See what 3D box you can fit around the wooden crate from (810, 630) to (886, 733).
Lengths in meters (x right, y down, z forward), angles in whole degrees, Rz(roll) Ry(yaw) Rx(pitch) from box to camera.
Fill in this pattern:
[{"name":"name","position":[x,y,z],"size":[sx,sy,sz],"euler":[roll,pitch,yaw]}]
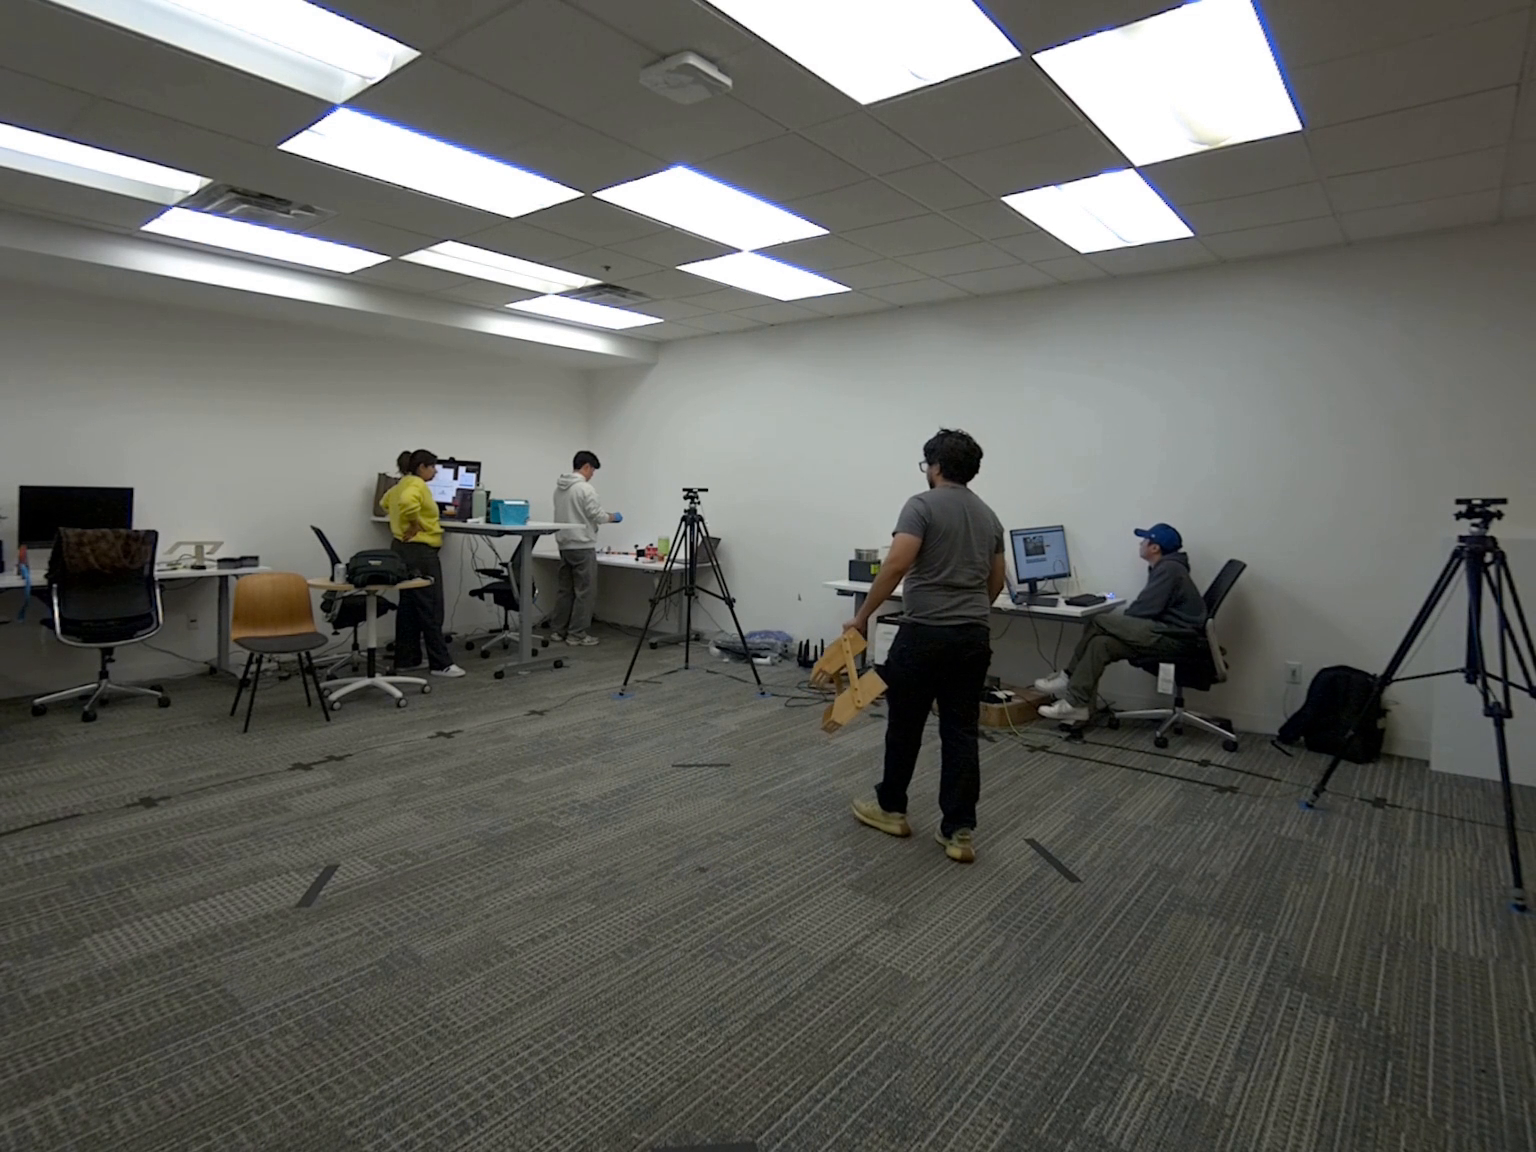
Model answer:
[{"name":"wooden crate","position":[0.269,0.417,3.393],"size":[0.301,0.278,0.320],"euler":[-36,-12,-14]}]
